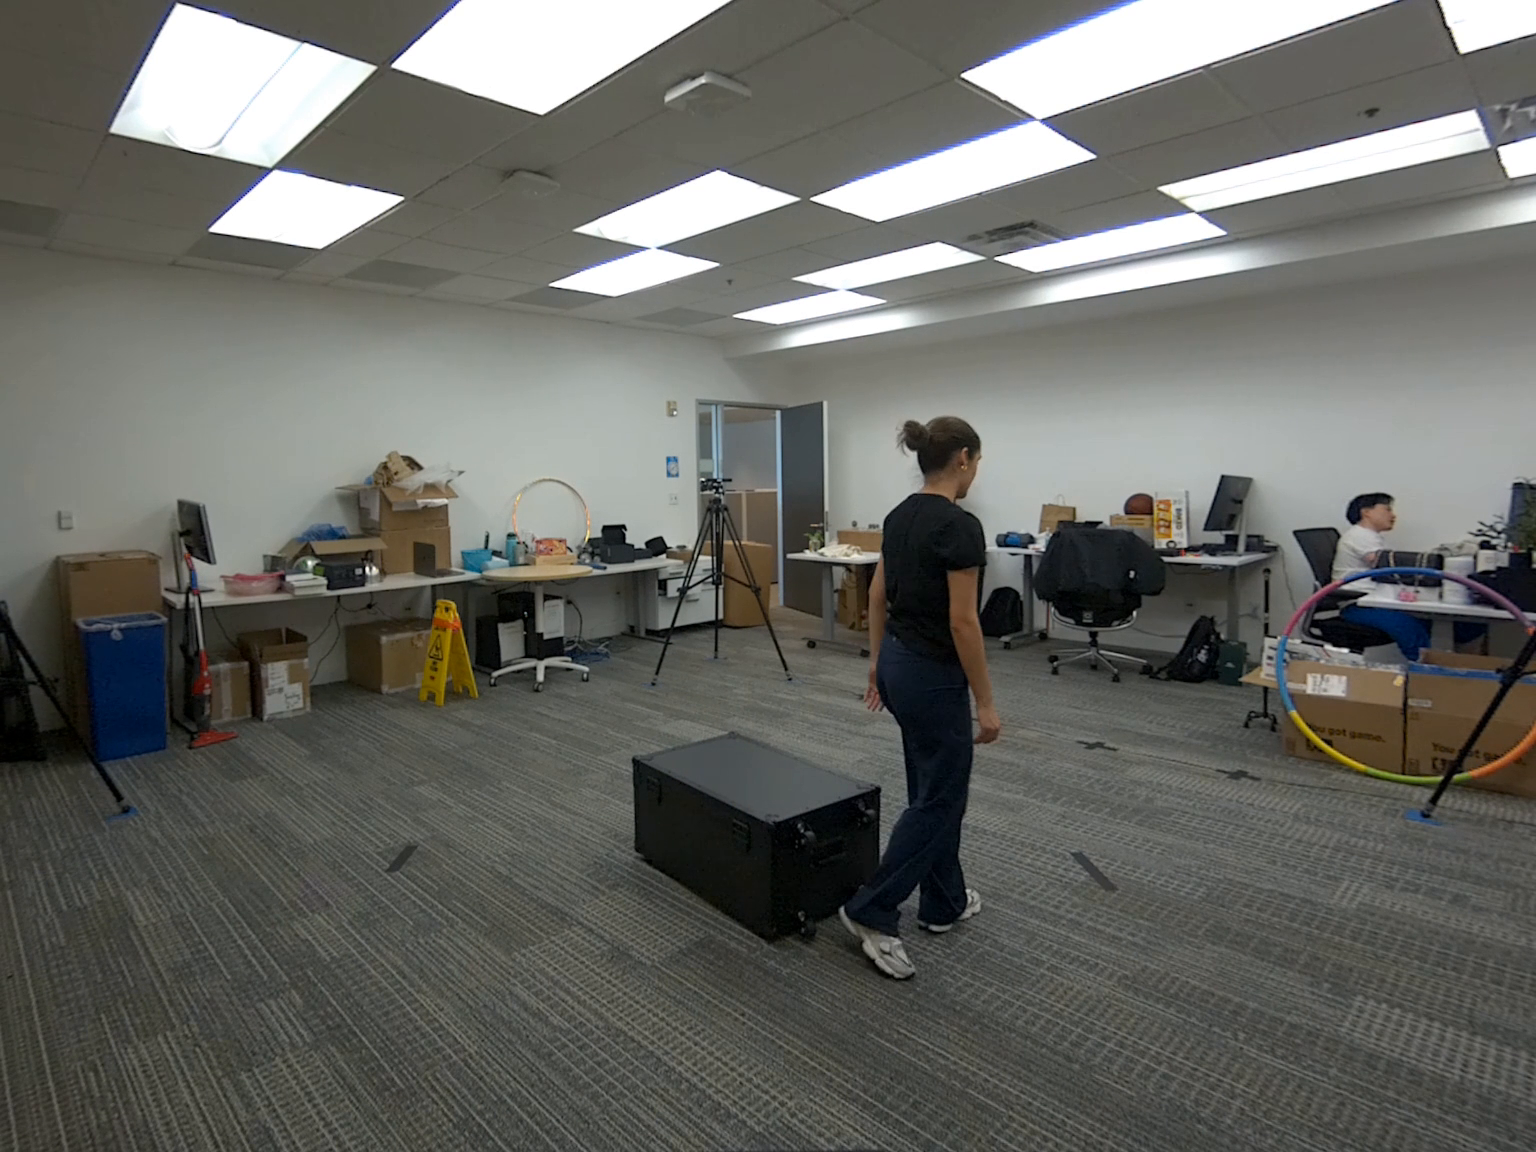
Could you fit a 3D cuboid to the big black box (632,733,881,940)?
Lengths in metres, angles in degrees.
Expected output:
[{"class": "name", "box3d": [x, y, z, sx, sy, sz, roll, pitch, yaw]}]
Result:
[{"class": "big black box", "box3d": [-0.077, 0.865, 3.032, 0.507, 0.394, 0.889, -5, 8, -39]}]
